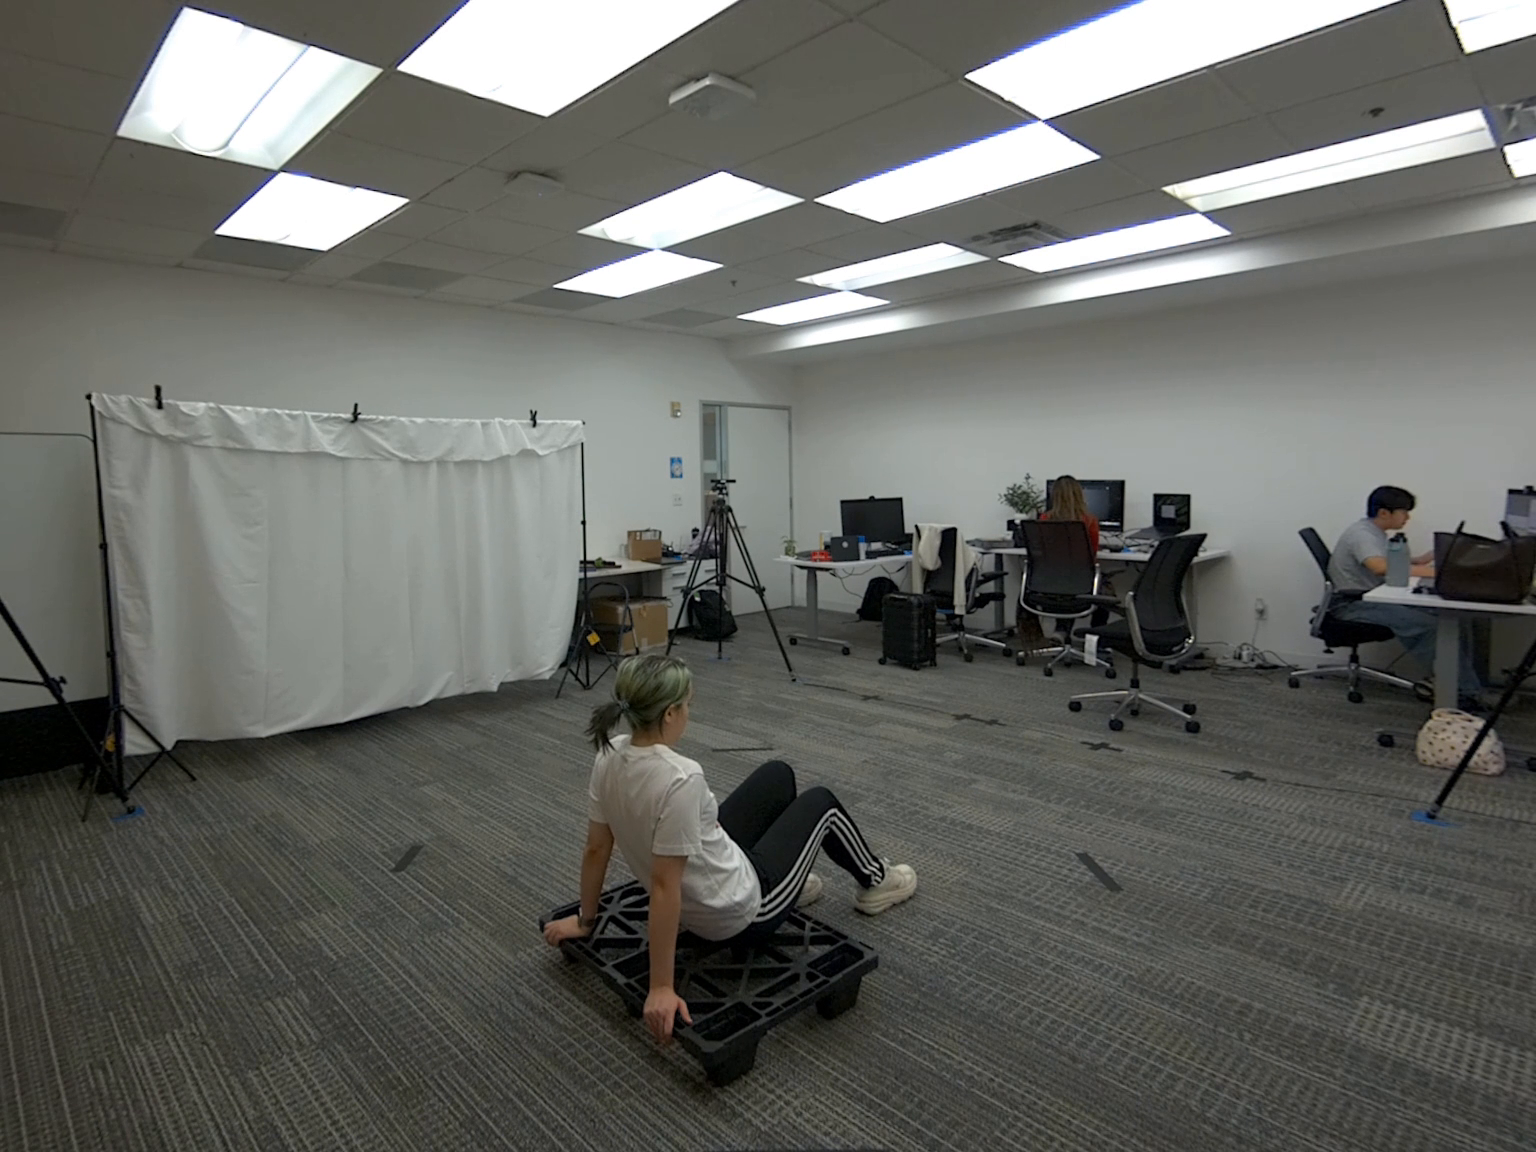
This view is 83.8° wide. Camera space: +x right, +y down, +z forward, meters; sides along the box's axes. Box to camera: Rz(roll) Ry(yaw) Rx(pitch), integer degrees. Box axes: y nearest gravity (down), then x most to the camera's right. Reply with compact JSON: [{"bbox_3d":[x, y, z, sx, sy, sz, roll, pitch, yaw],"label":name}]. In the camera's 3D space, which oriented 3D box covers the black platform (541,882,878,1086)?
[{"bbox_3d":[-0.185,1.065,2.399,0.589,0.142,0.831,-6,8,-40],"label":"black platform"}]
